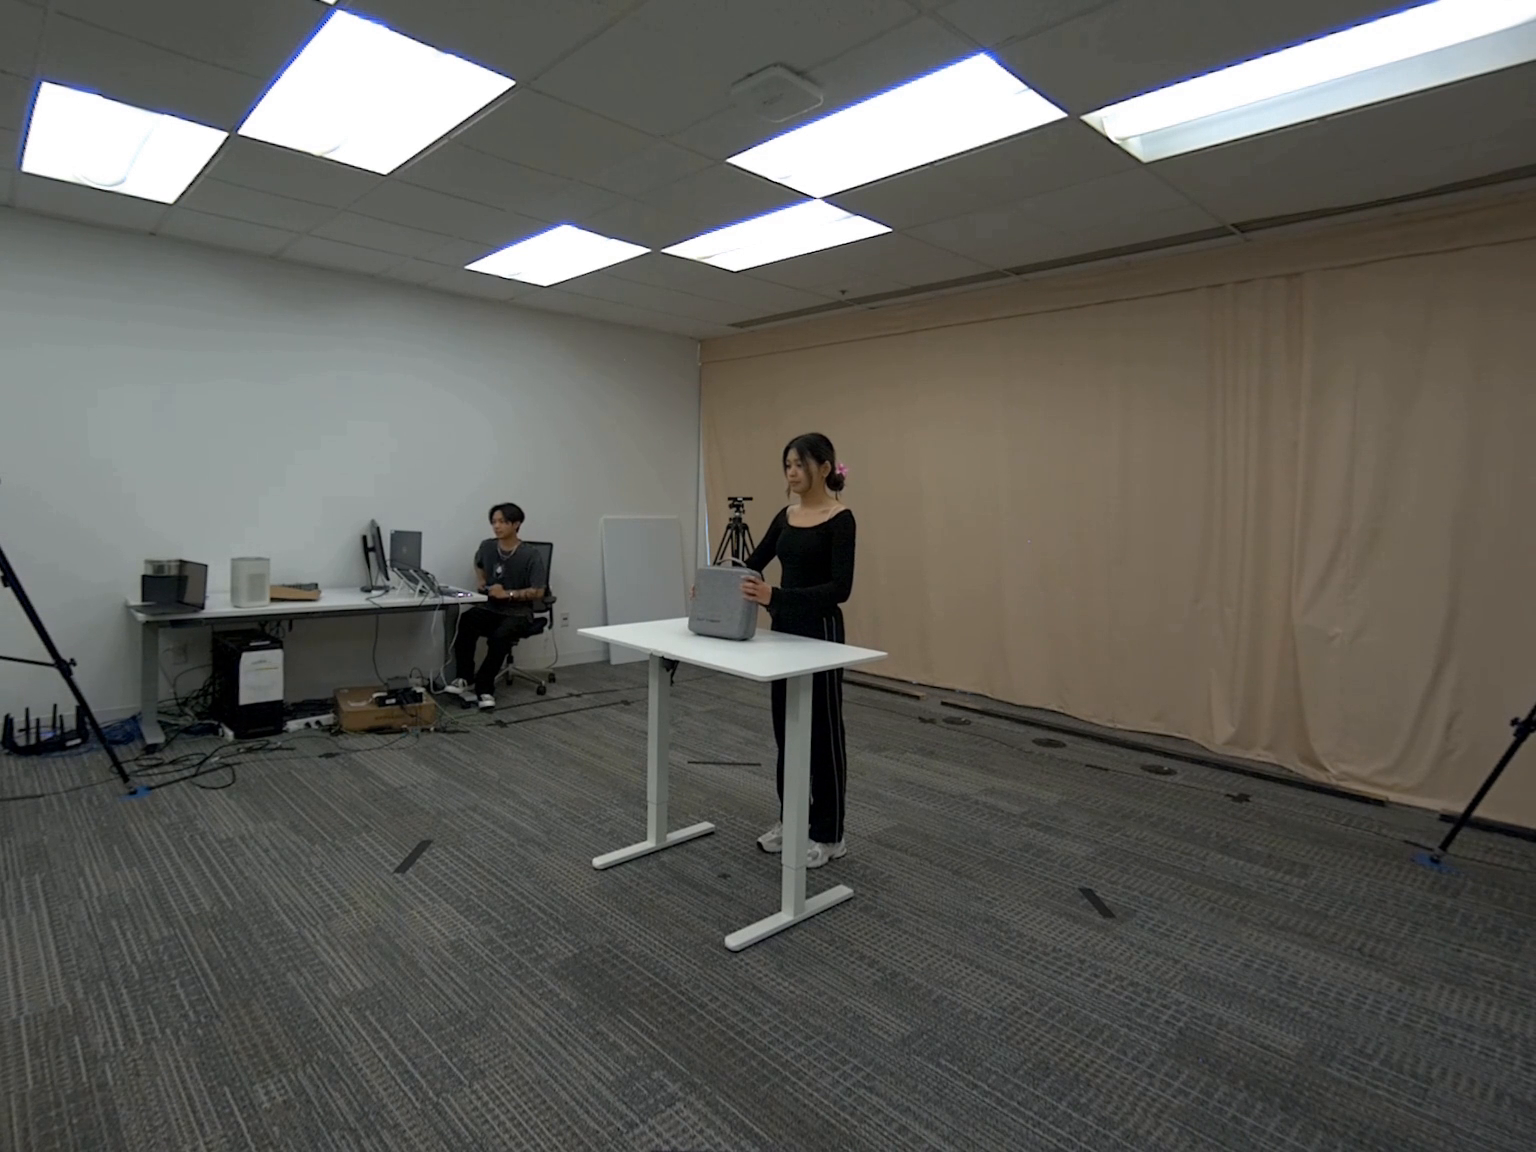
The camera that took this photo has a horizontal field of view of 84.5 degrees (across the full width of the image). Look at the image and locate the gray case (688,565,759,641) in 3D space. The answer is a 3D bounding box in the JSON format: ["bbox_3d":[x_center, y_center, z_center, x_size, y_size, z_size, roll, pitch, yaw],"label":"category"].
[{"bbox_3d":[-0.169,0.095,3.088,0.263,0.261,0.101,5,-3,34],"label":"gray case"}]
